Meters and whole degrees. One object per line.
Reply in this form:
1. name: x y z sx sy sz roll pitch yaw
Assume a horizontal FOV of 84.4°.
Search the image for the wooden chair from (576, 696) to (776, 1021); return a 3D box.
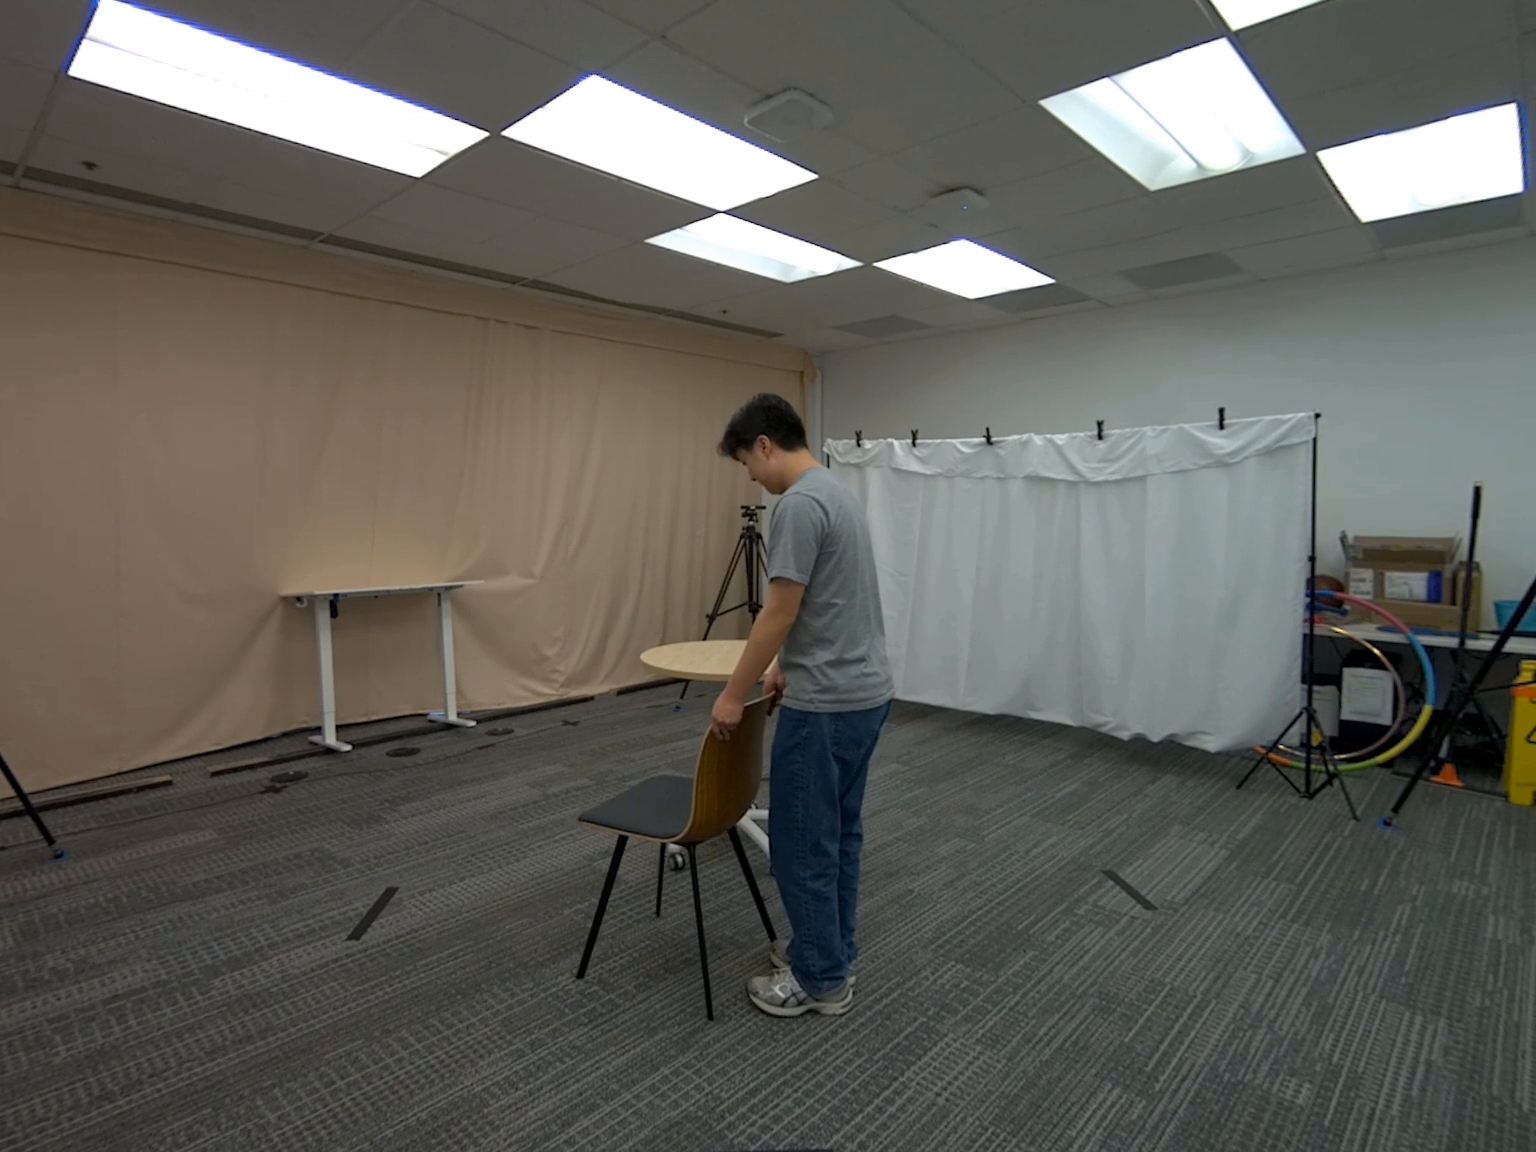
1. wooden chair: -0.276 0.749 2.553 0.538 0.874 0.466 7 6 26
